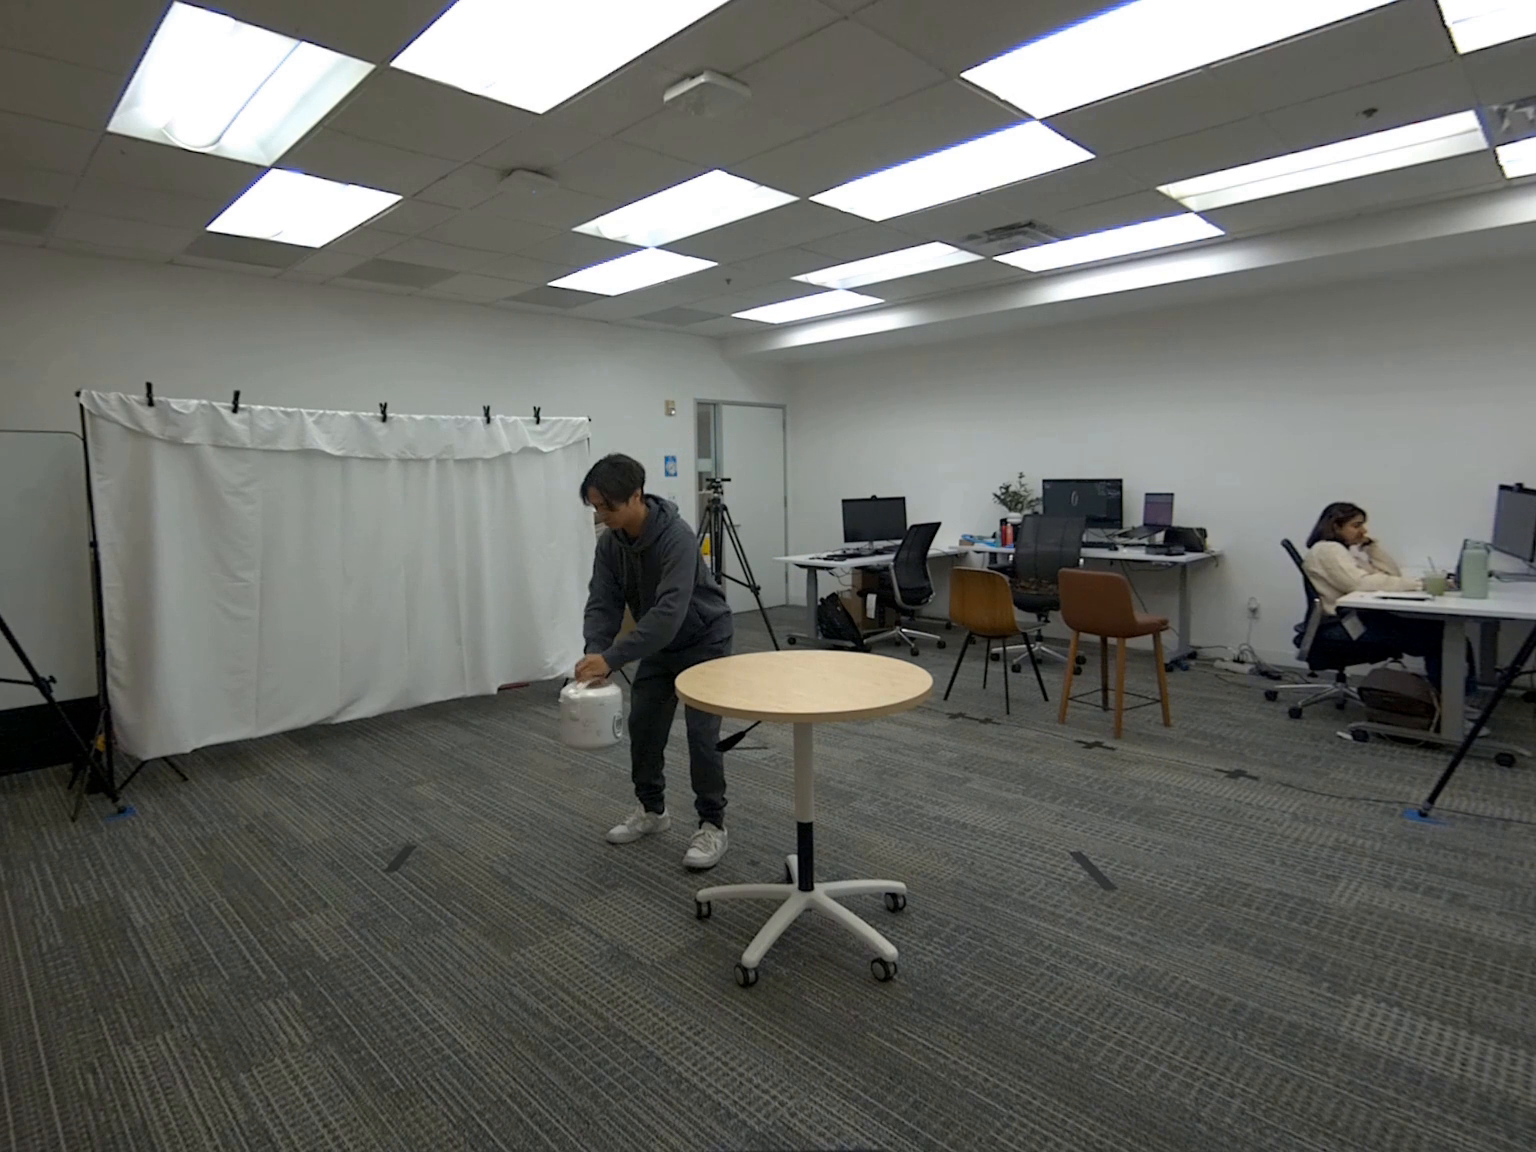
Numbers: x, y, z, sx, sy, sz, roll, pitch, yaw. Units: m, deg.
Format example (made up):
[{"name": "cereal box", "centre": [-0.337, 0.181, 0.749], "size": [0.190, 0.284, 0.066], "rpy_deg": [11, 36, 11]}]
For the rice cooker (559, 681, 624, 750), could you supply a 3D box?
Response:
[{"name": "rice cooker", "centre": [-0.594, 0.459, 2.909], "size": [0.222, 0.232, 0.216], "rpy_deg": [0, 4, 24]}]
